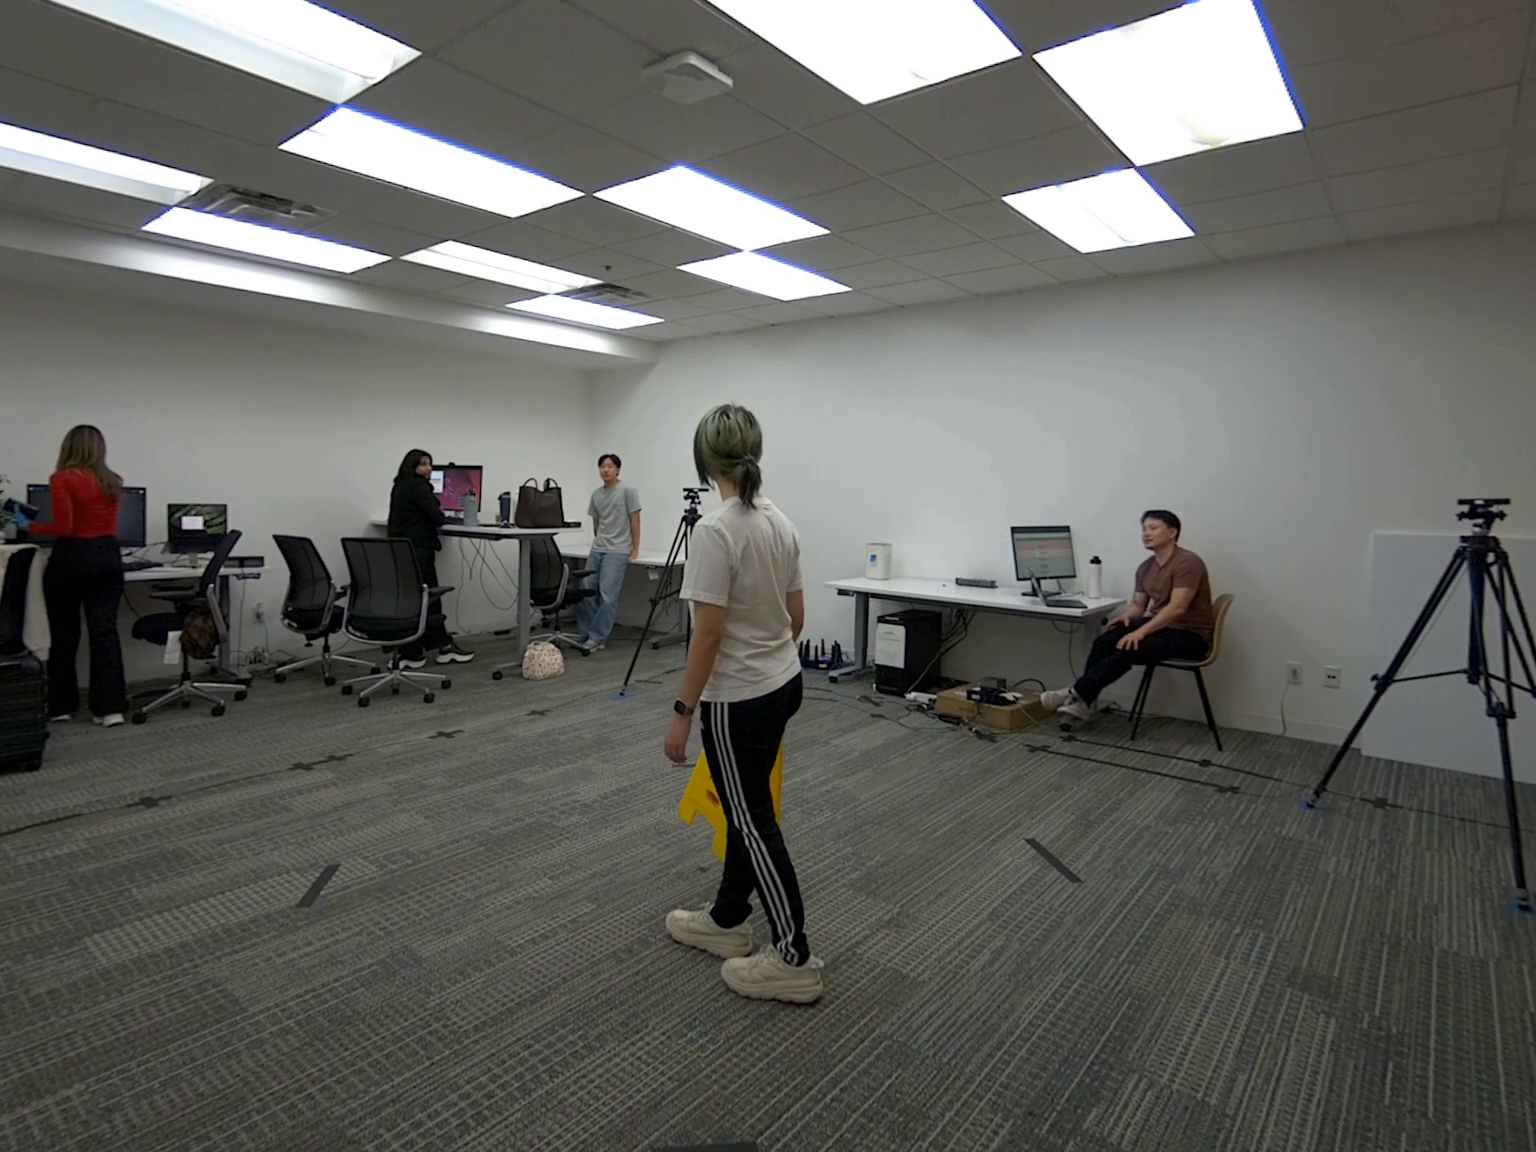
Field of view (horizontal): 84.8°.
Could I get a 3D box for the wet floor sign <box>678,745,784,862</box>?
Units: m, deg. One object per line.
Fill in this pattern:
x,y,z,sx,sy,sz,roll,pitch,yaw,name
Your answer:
-0.089,0.582,2.865,0.281,0.637,0.294,-5,25,-40,wet floor sign
